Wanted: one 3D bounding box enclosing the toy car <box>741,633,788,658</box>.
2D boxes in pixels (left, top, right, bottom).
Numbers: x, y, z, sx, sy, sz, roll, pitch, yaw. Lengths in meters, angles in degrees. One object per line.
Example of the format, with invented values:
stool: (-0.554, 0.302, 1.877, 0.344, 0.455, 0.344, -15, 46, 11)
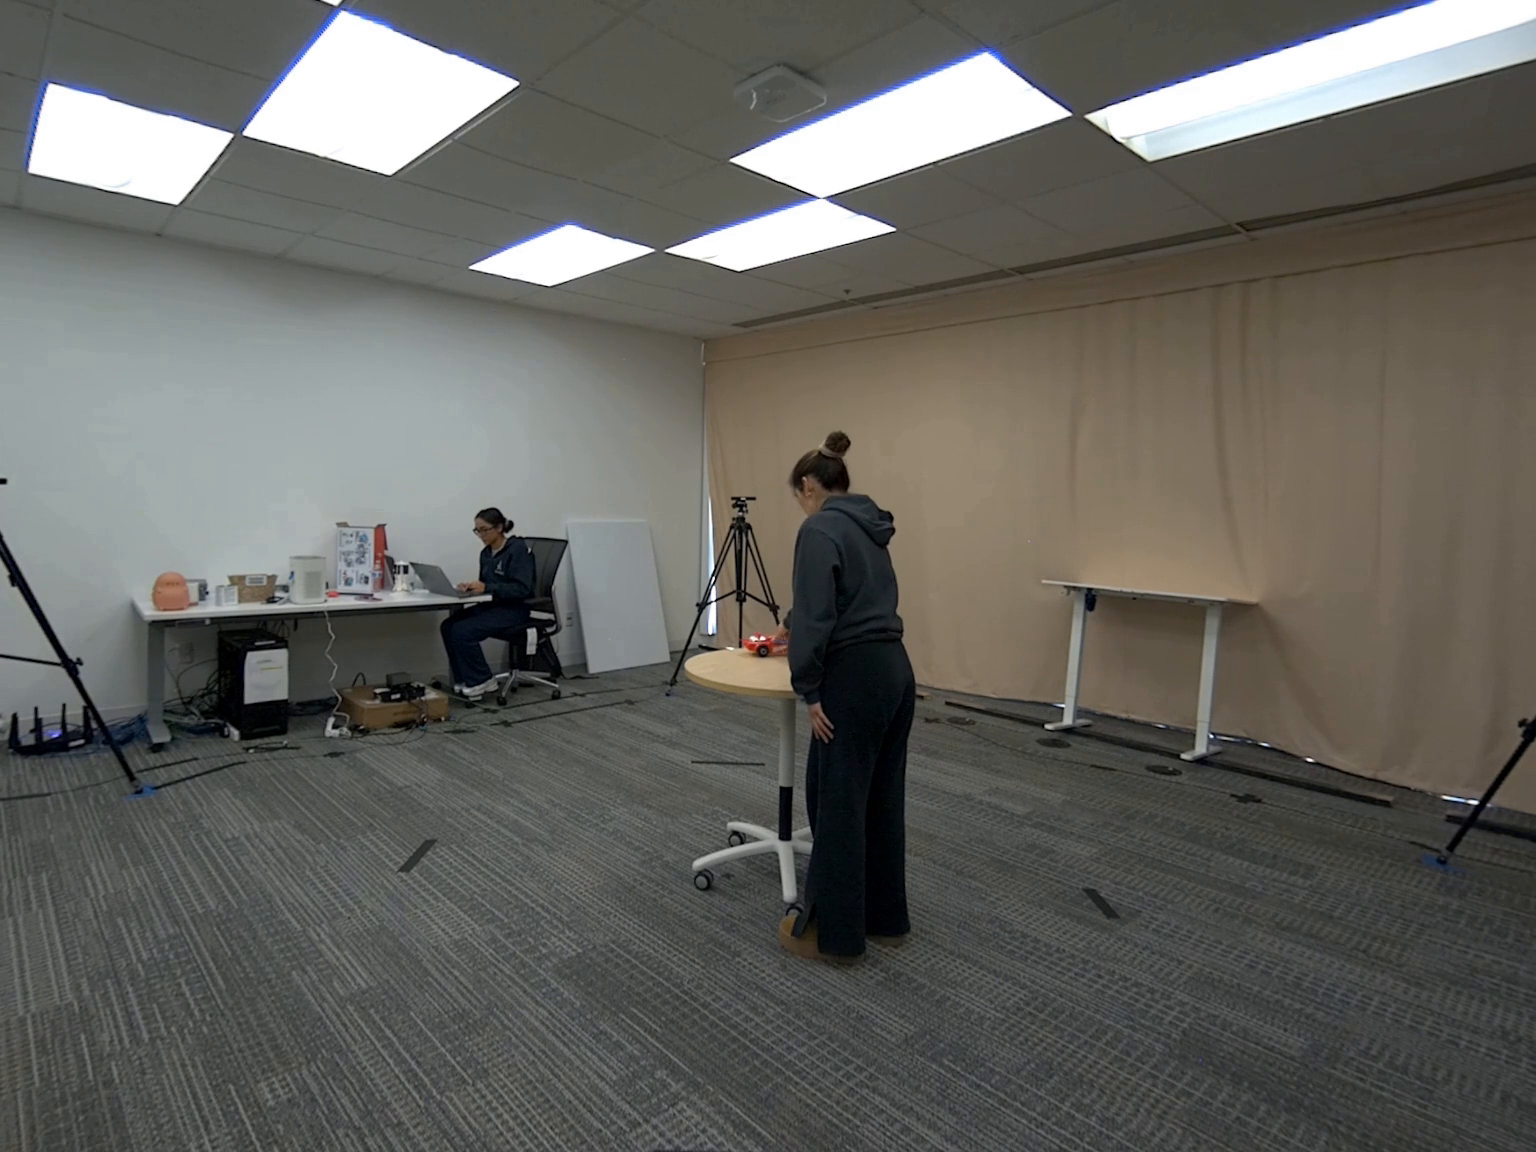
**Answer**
toy car: (-0.002, 0.277, 3.298, 0.251, 0.083, 0.132, 12, 1, -15)
